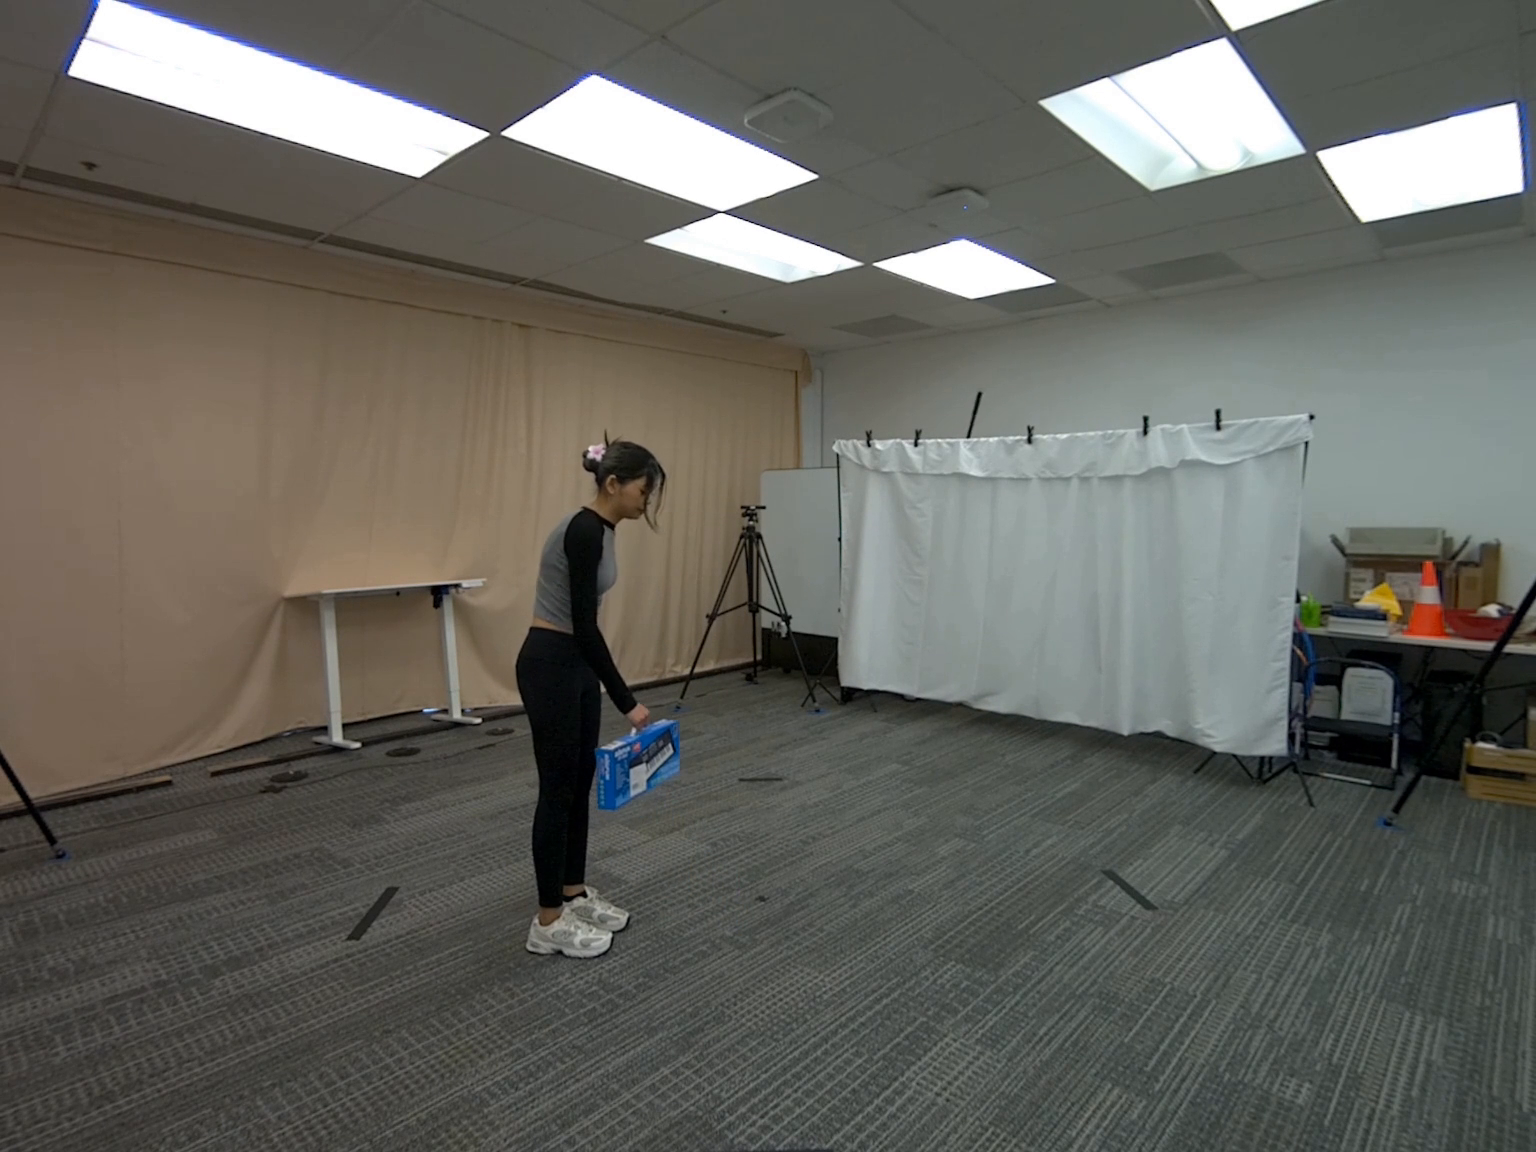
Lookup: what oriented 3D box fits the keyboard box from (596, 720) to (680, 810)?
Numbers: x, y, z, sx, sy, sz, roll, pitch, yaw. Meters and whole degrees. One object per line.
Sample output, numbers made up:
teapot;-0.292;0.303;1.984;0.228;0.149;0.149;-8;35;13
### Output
keyboard box;-0.396;0.578;2.605;0.060;0.176;0.427;-1;1;20
